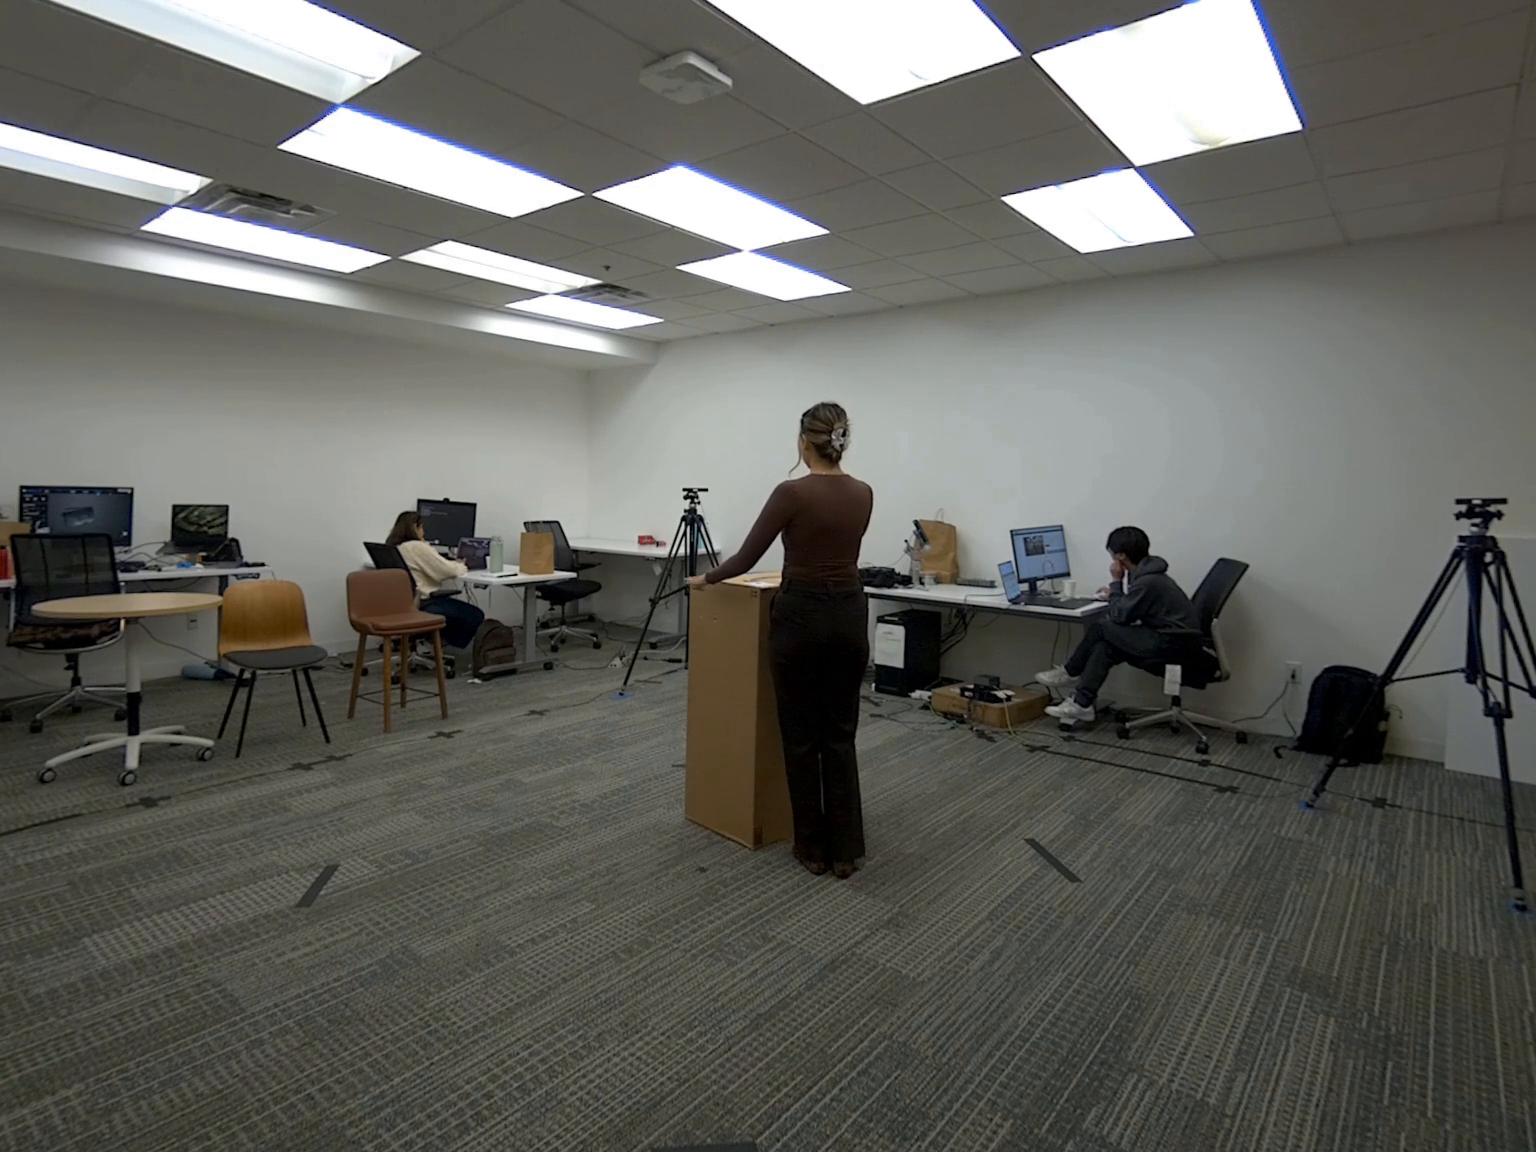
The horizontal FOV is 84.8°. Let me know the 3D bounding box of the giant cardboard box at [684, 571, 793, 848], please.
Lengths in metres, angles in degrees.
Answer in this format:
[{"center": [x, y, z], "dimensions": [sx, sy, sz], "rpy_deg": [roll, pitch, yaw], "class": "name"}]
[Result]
[{"center": [-0.002, 0.516, 3.604], "dimensions": [0.566, 1.023, 0.462], "rpy_deg": [-2, 5, -43], "class": "giant cardboard box"}]
